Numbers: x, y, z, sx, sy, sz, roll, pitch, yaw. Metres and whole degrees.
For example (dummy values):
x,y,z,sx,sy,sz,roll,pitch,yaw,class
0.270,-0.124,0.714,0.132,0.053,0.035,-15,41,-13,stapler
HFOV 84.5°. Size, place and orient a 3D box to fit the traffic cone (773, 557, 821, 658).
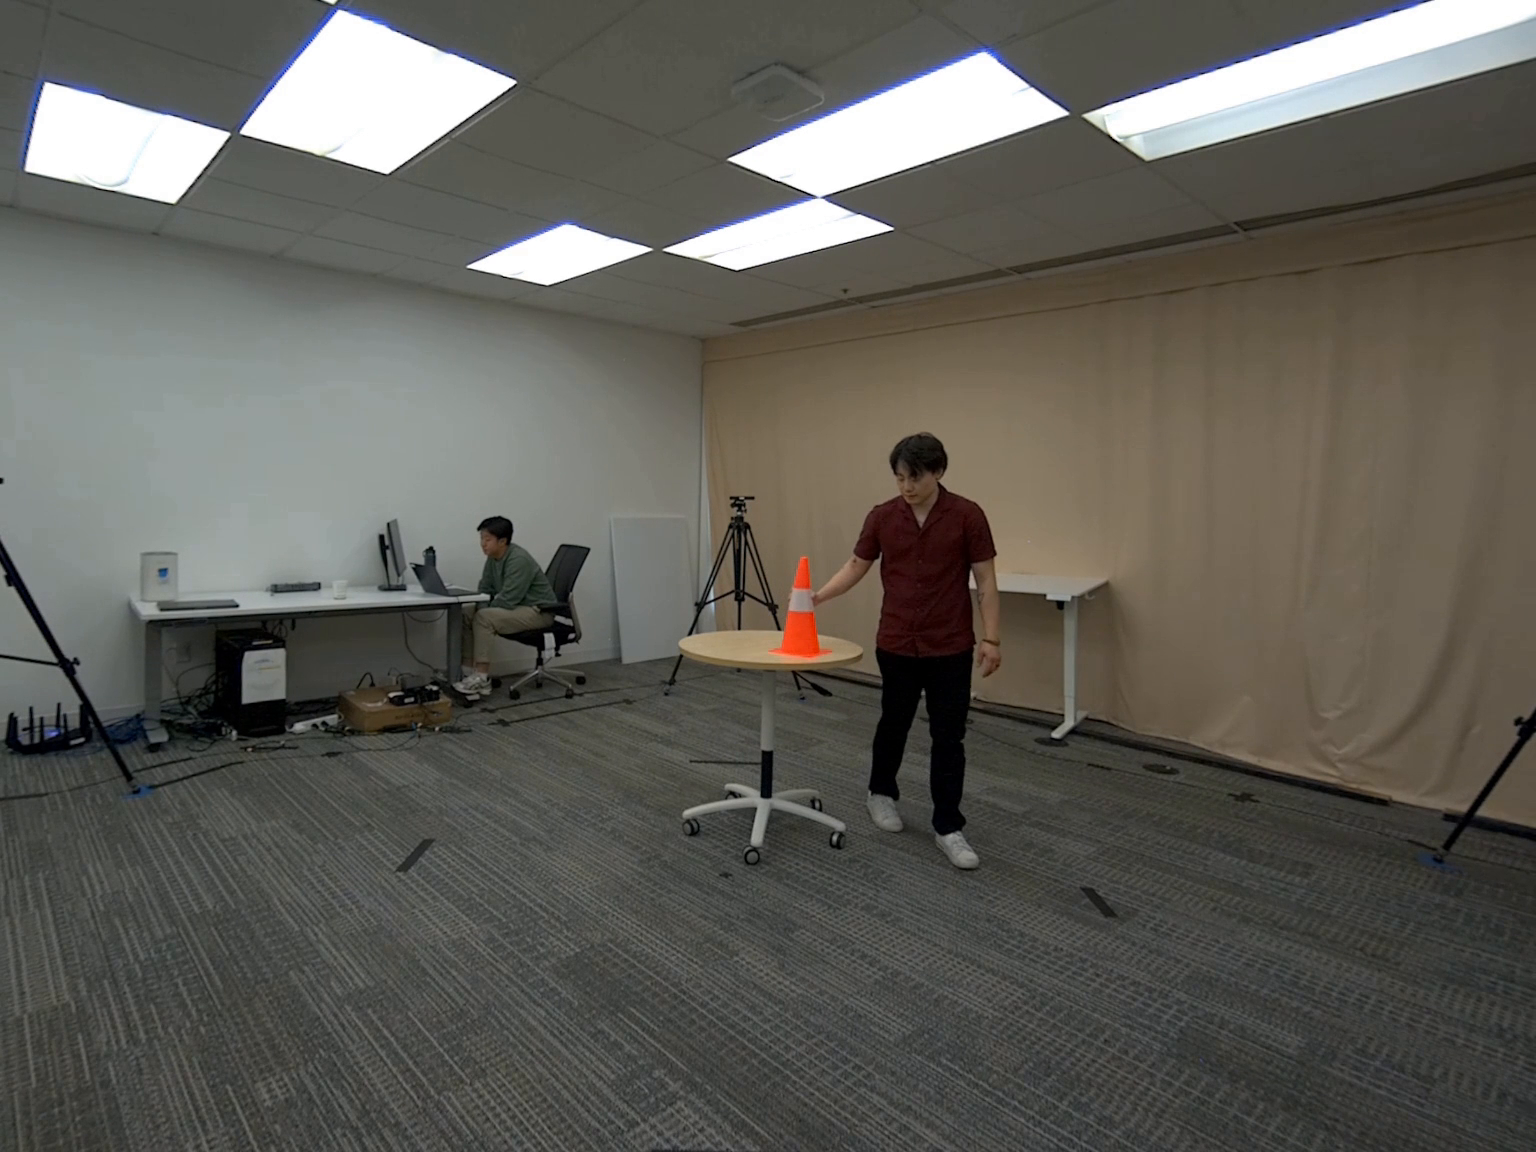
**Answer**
x,y,z,sx,sy,sz,roll,pitch,yaw,class
0.127,0.113,3.369,0.208,0.382,0.201,5,5,28,traffic cone
